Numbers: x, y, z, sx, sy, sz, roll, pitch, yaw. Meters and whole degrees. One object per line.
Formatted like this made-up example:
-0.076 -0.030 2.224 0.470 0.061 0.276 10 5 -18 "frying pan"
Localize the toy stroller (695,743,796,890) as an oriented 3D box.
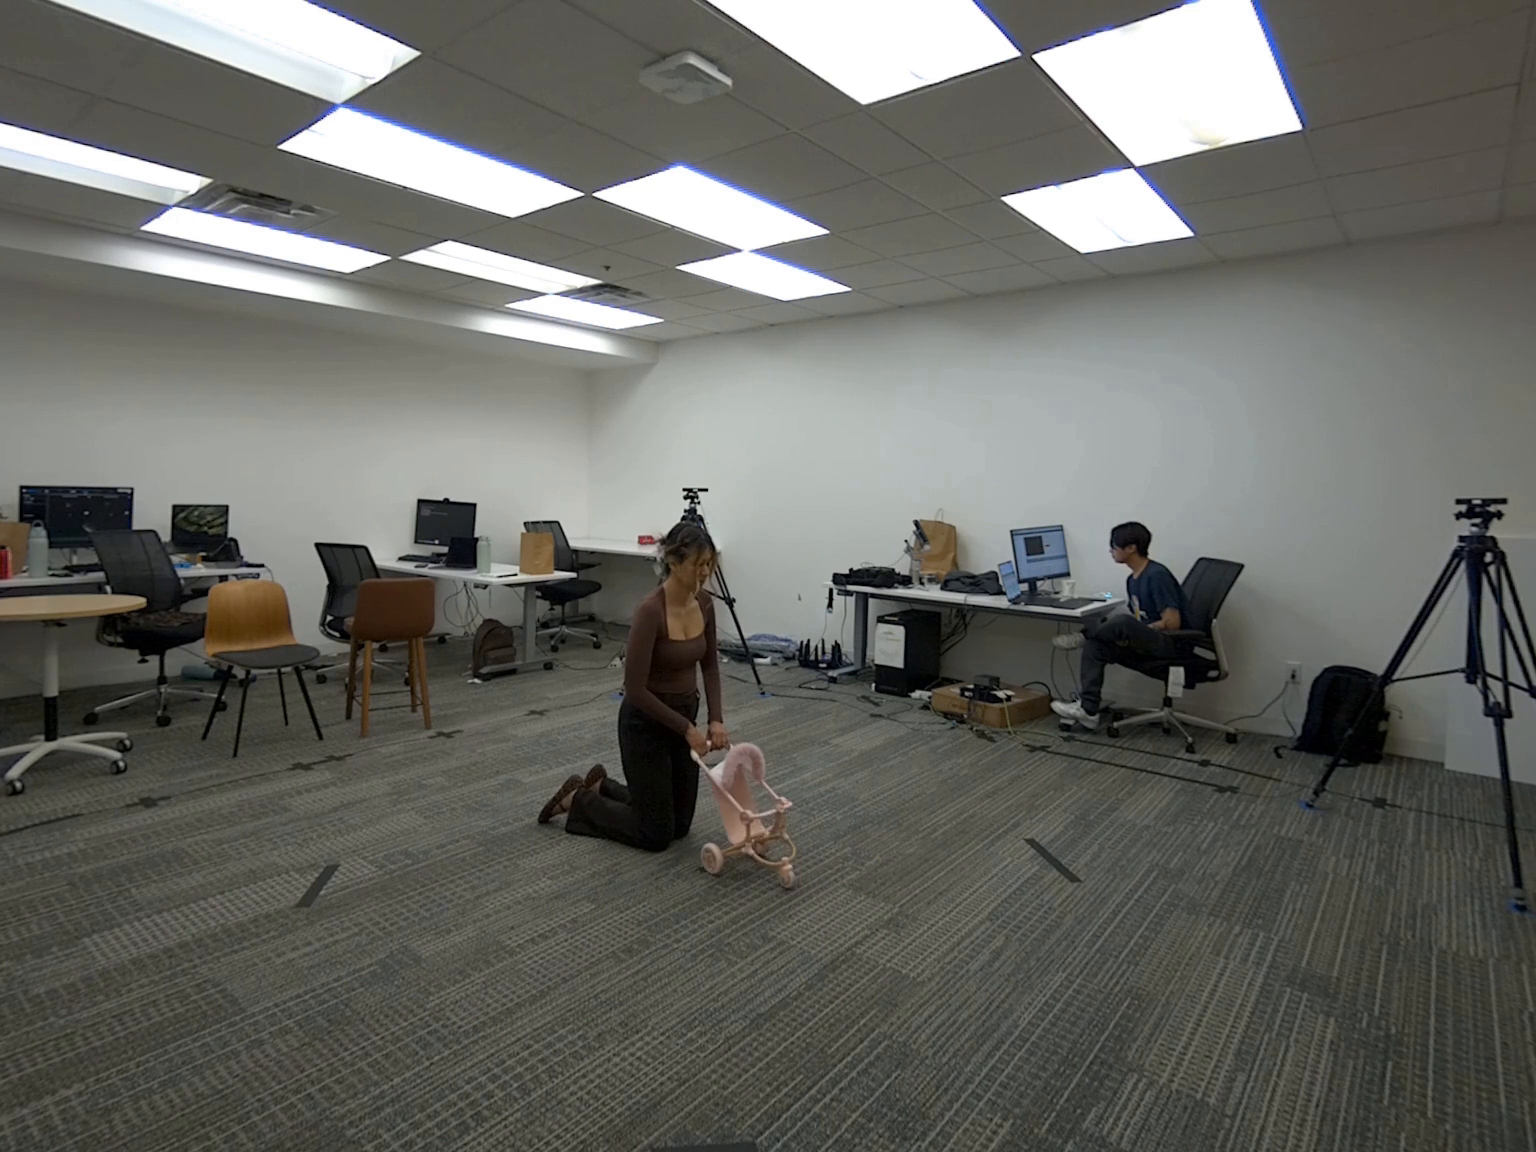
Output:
-0.077 0.848 3.105 0.273 0.541 0.348 -3 -13 -42 "toy stroller"
